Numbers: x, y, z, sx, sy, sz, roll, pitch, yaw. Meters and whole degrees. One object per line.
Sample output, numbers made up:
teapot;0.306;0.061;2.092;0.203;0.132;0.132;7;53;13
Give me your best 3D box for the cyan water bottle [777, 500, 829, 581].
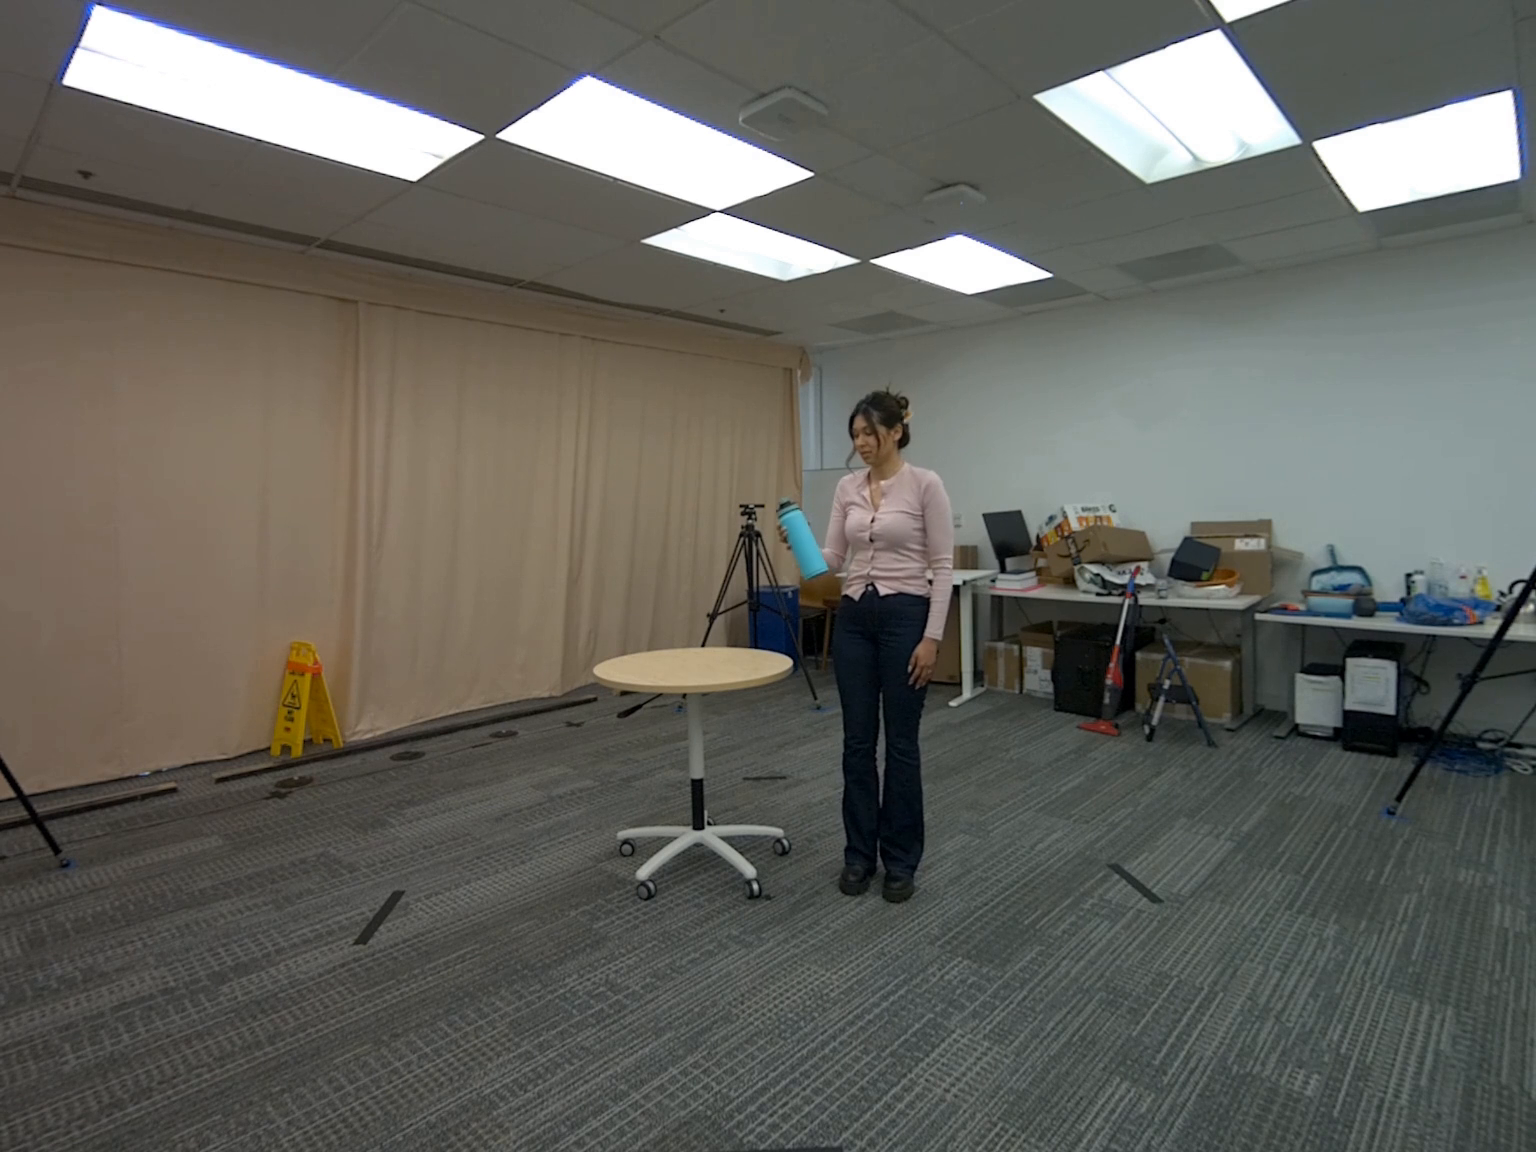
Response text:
cyan water bottle;0.118;-0.128;2.857;0.092;0.286;0.092;-22;-10;-5
